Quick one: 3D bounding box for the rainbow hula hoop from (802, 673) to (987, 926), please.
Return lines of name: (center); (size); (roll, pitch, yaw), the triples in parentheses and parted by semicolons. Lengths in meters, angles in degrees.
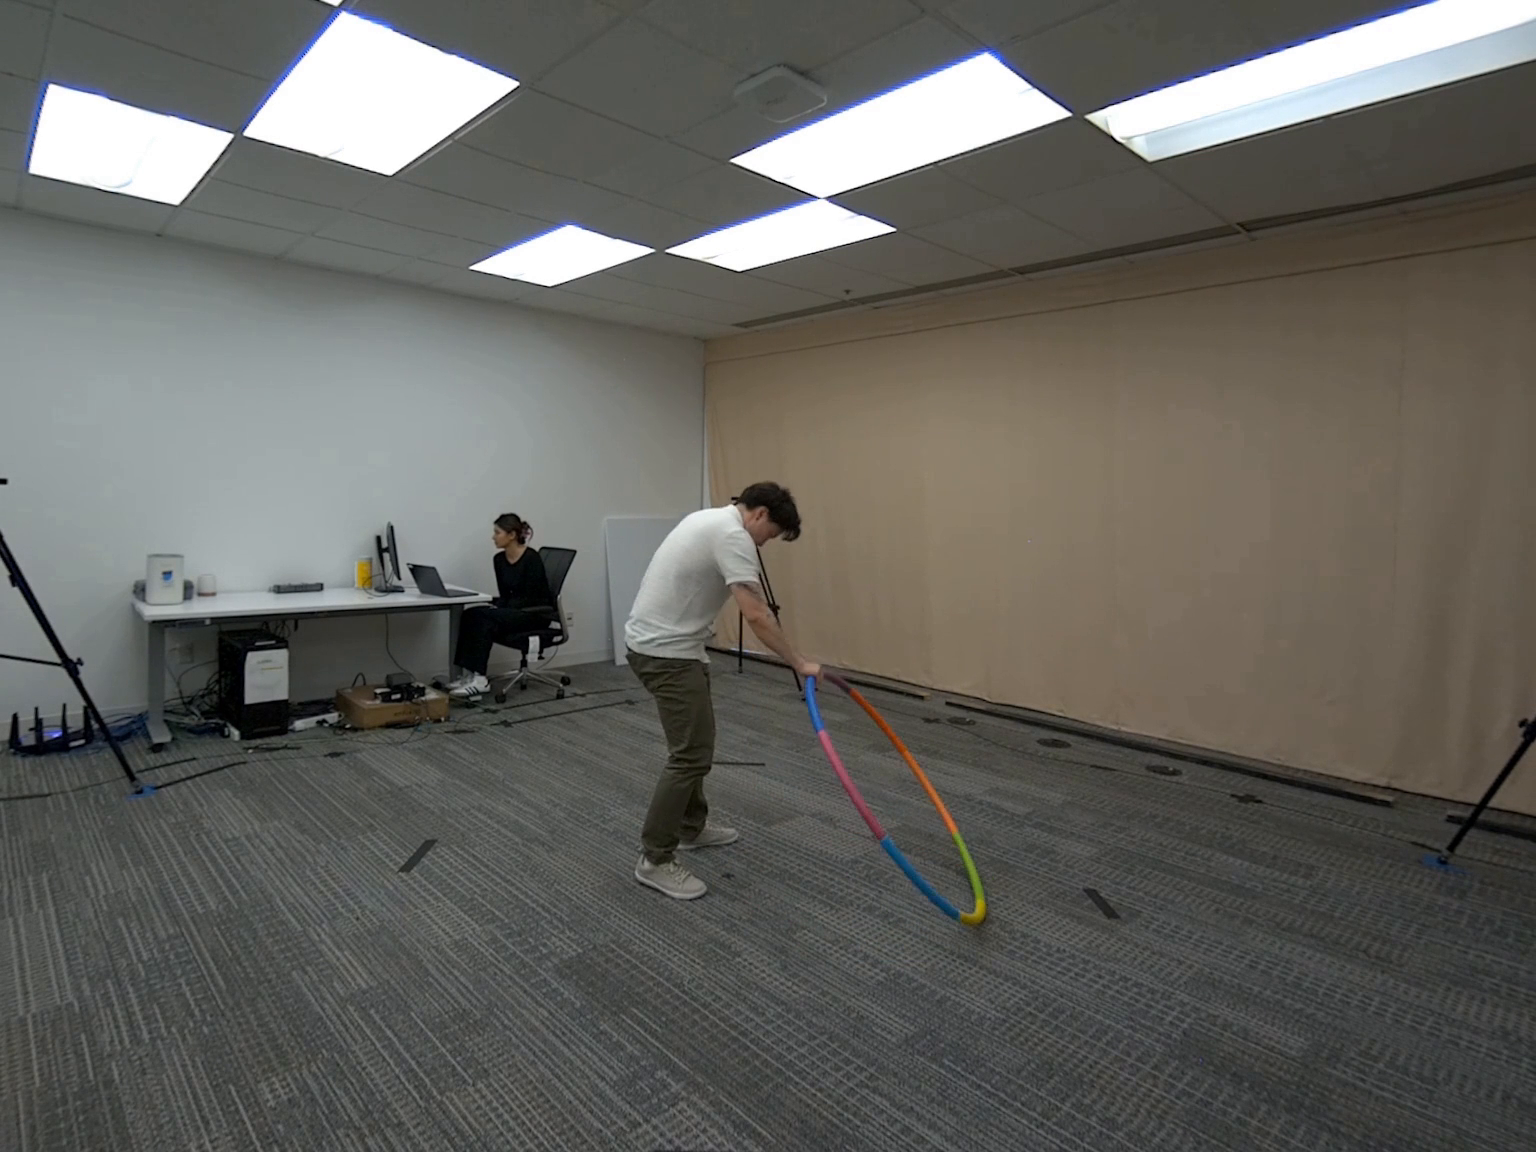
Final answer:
rainbow hula hoop: (0.423, 0.751, 2.969); (0.035, 0.986, 0.970); (-39, -6, 13)
